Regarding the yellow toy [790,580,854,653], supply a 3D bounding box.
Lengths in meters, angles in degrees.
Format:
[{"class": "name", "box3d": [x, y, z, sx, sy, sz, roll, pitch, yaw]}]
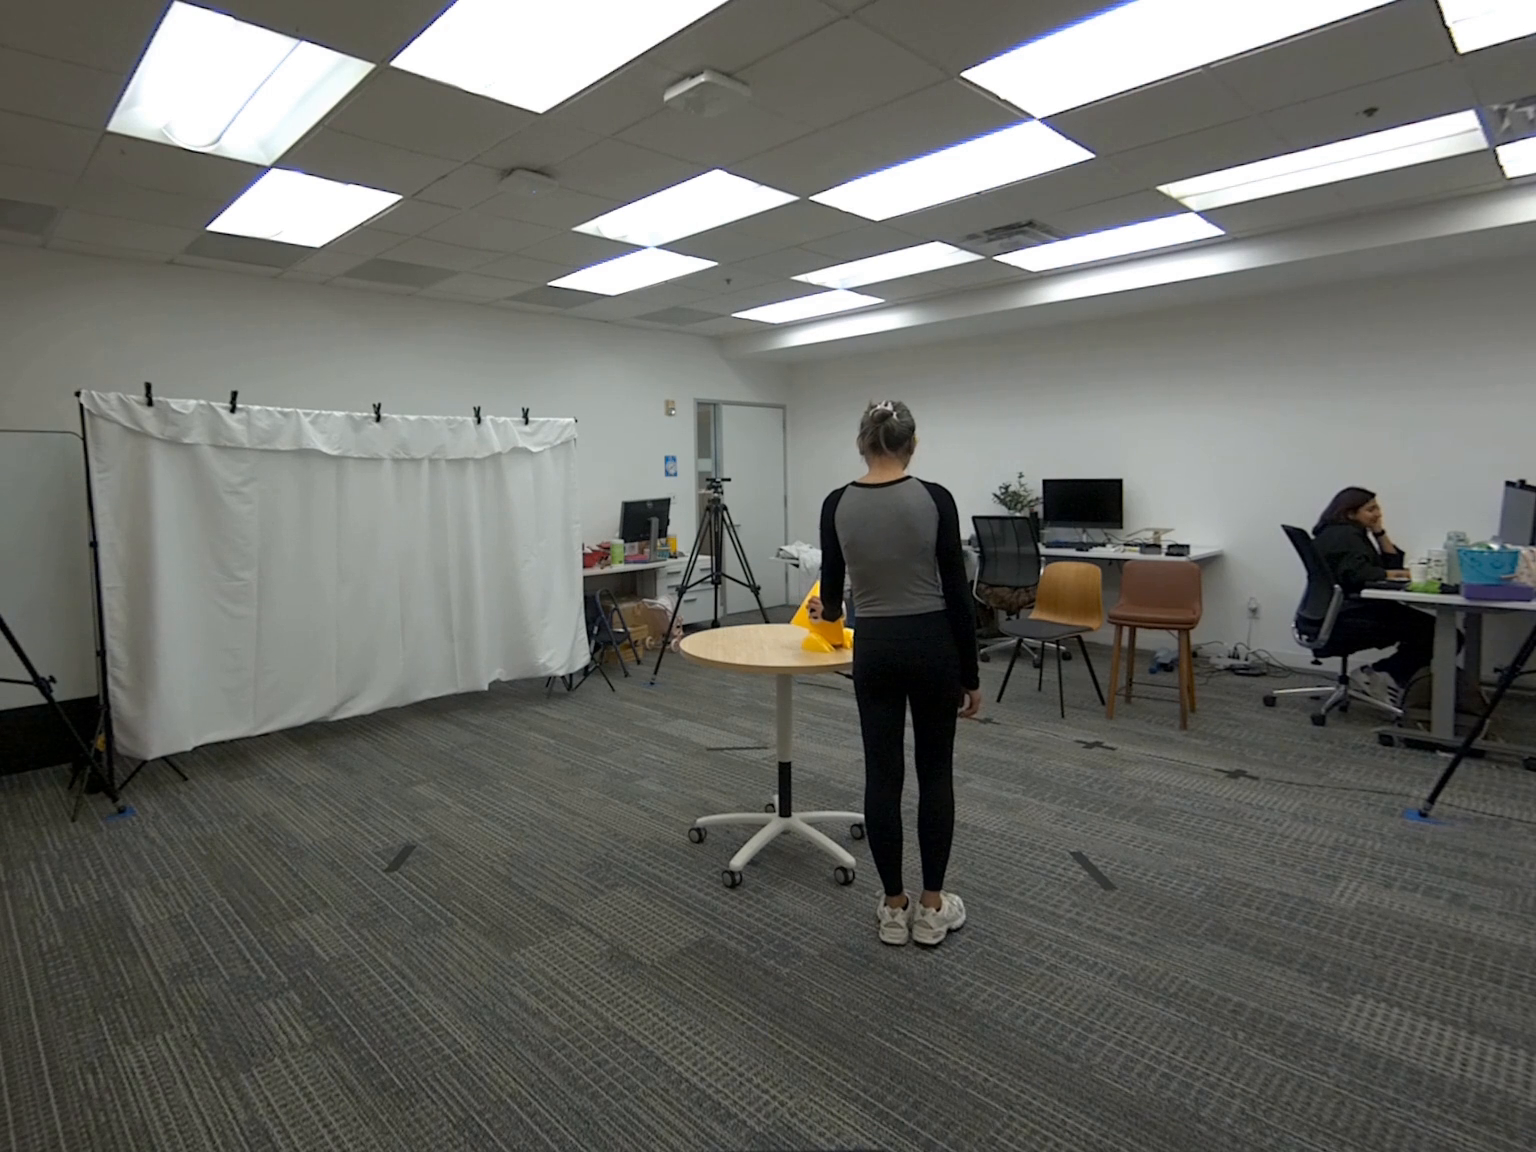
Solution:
[{"class": "yellow toy", "box3d": [0.222, 0.140, 3.059, 0.200, 0.230, 0.198, -4, 6, -31]}]
